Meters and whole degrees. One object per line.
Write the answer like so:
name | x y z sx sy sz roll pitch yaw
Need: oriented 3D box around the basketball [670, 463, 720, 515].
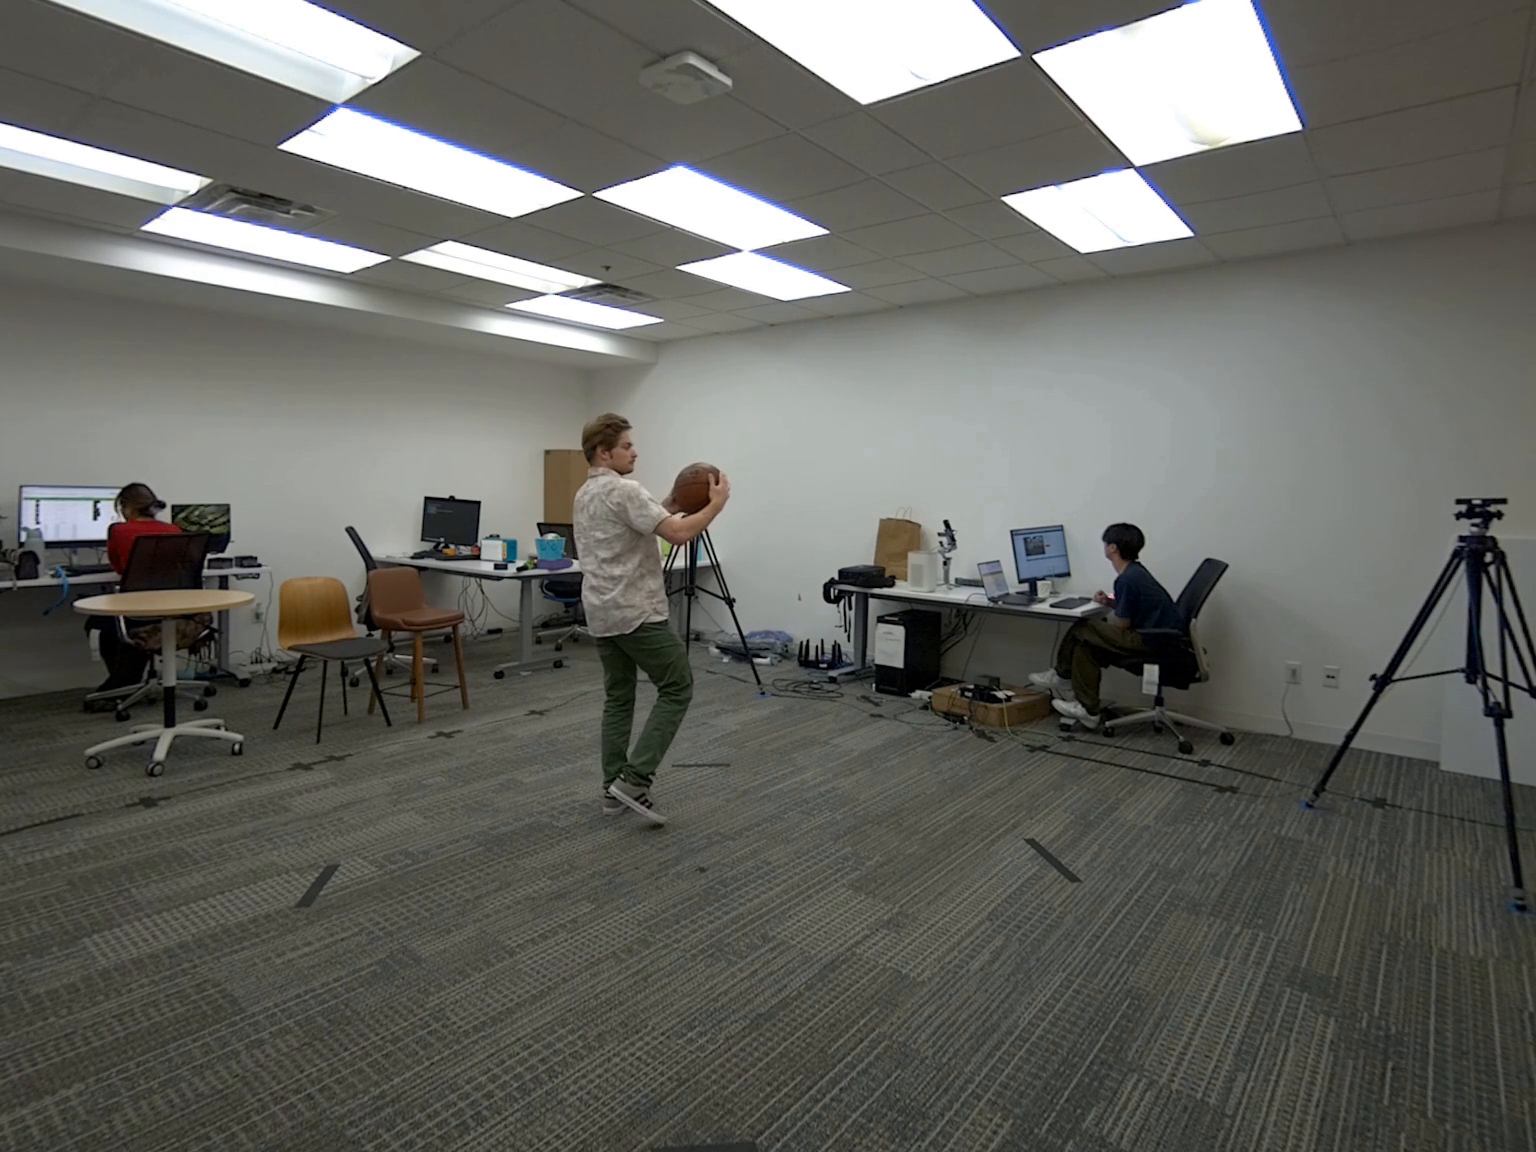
basketball | -0.315 -0.384 3.750 0.235 0.235 0.237 1 4 -2
